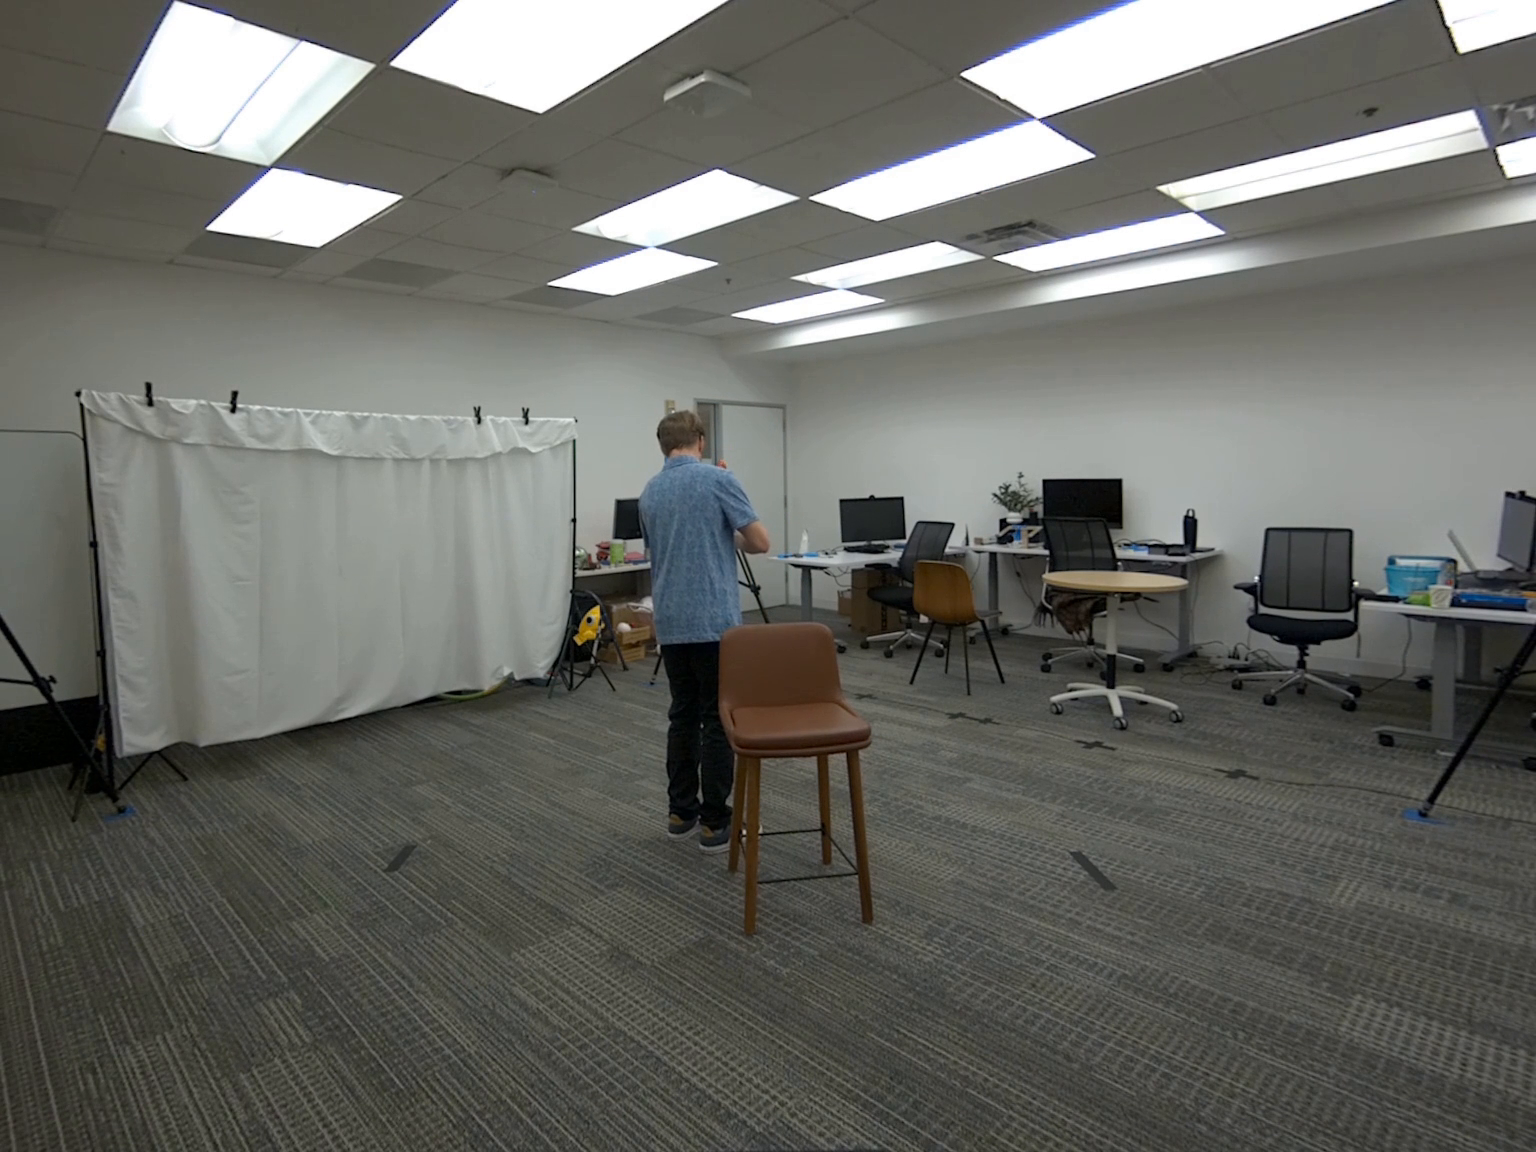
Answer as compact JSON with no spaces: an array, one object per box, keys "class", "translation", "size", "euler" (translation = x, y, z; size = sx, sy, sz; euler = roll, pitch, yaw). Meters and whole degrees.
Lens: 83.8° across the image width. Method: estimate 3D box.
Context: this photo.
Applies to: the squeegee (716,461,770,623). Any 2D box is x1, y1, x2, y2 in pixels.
[{"class":"squeegee","translation":[-0.196,0.195,3.839],"size":[0.435,1.505,0.054],"euler":[6,34,-5]}]
